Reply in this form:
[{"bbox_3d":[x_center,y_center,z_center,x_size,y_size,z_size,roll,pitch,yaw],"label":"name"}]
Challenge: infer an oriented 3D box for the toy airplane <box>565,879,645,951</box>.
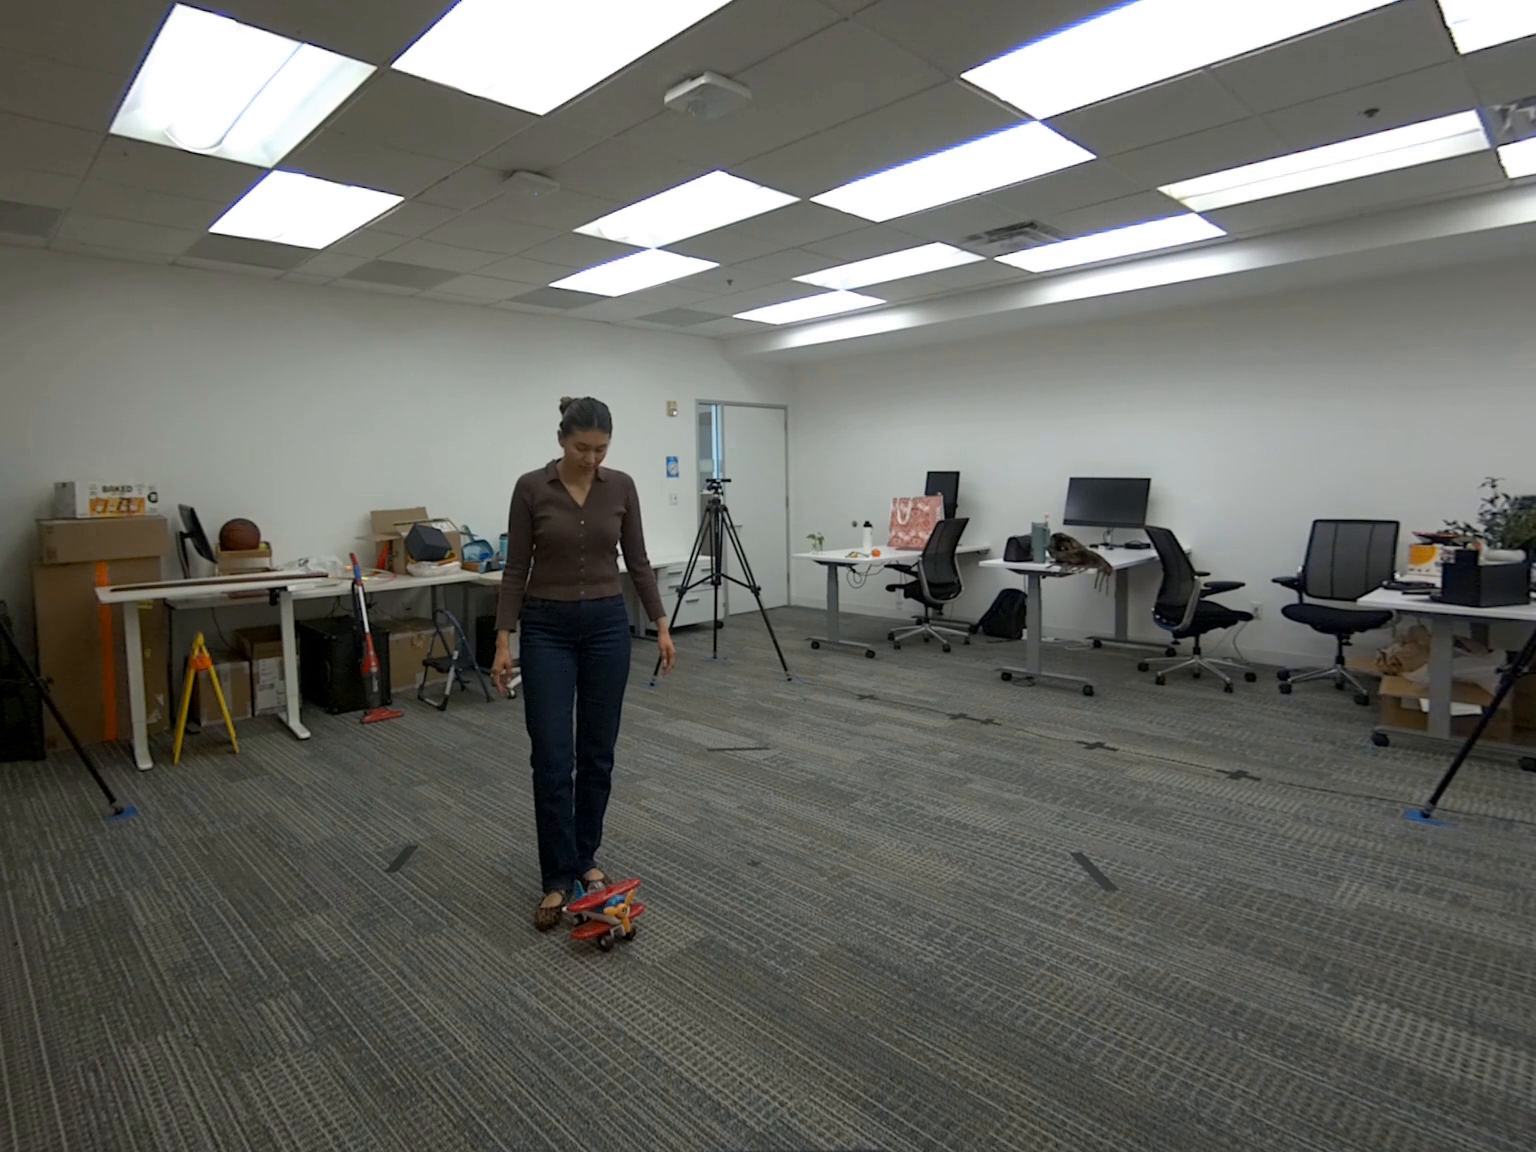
[{"bbox_3d":[-0.522,1.035,2.620,0.264,0.155,0.248,2,7,17],"label":"toy airplane"}]
